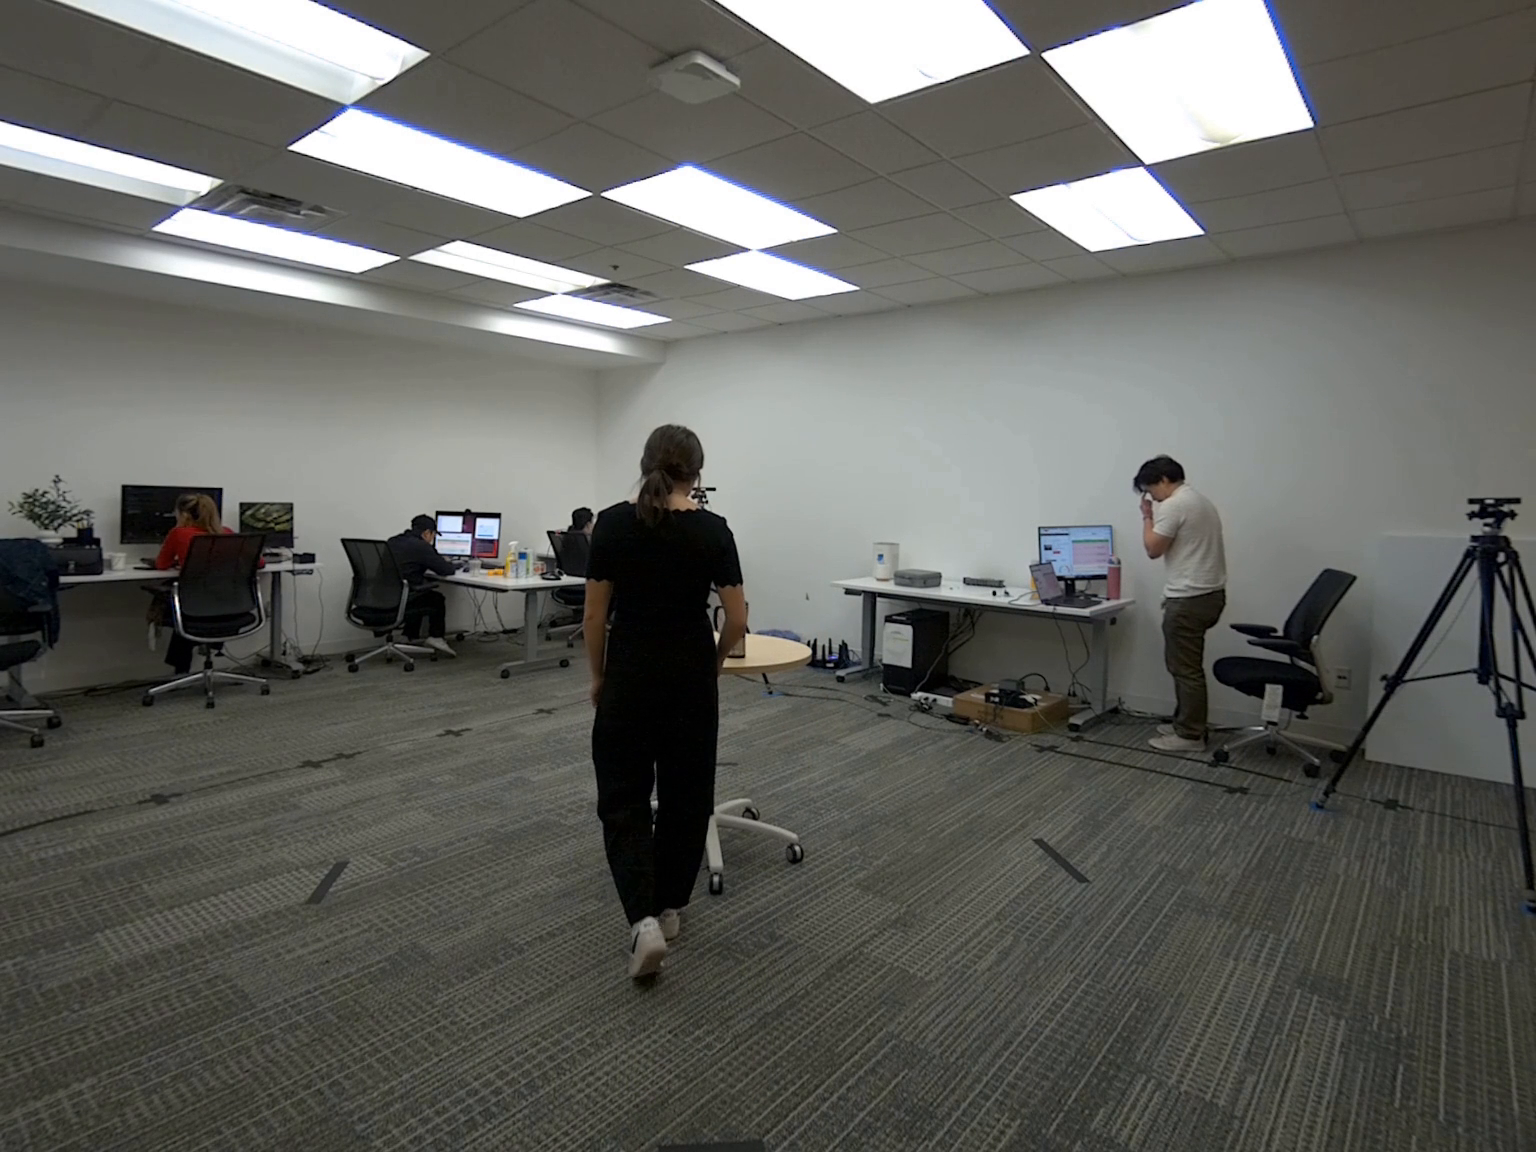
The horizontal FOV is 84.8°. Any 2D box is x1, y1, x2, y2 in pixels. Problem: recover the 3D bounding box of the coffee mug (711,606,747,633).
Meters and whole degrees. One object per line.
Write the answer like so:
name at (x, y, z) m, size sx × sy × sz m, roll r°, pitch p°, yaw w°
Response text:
coffee mug at (-0.138, 0.188, 3.058) m, size 0.126 × 0.201 × 0.085 m, roll 9°, pitch 10°, yaw 35°
